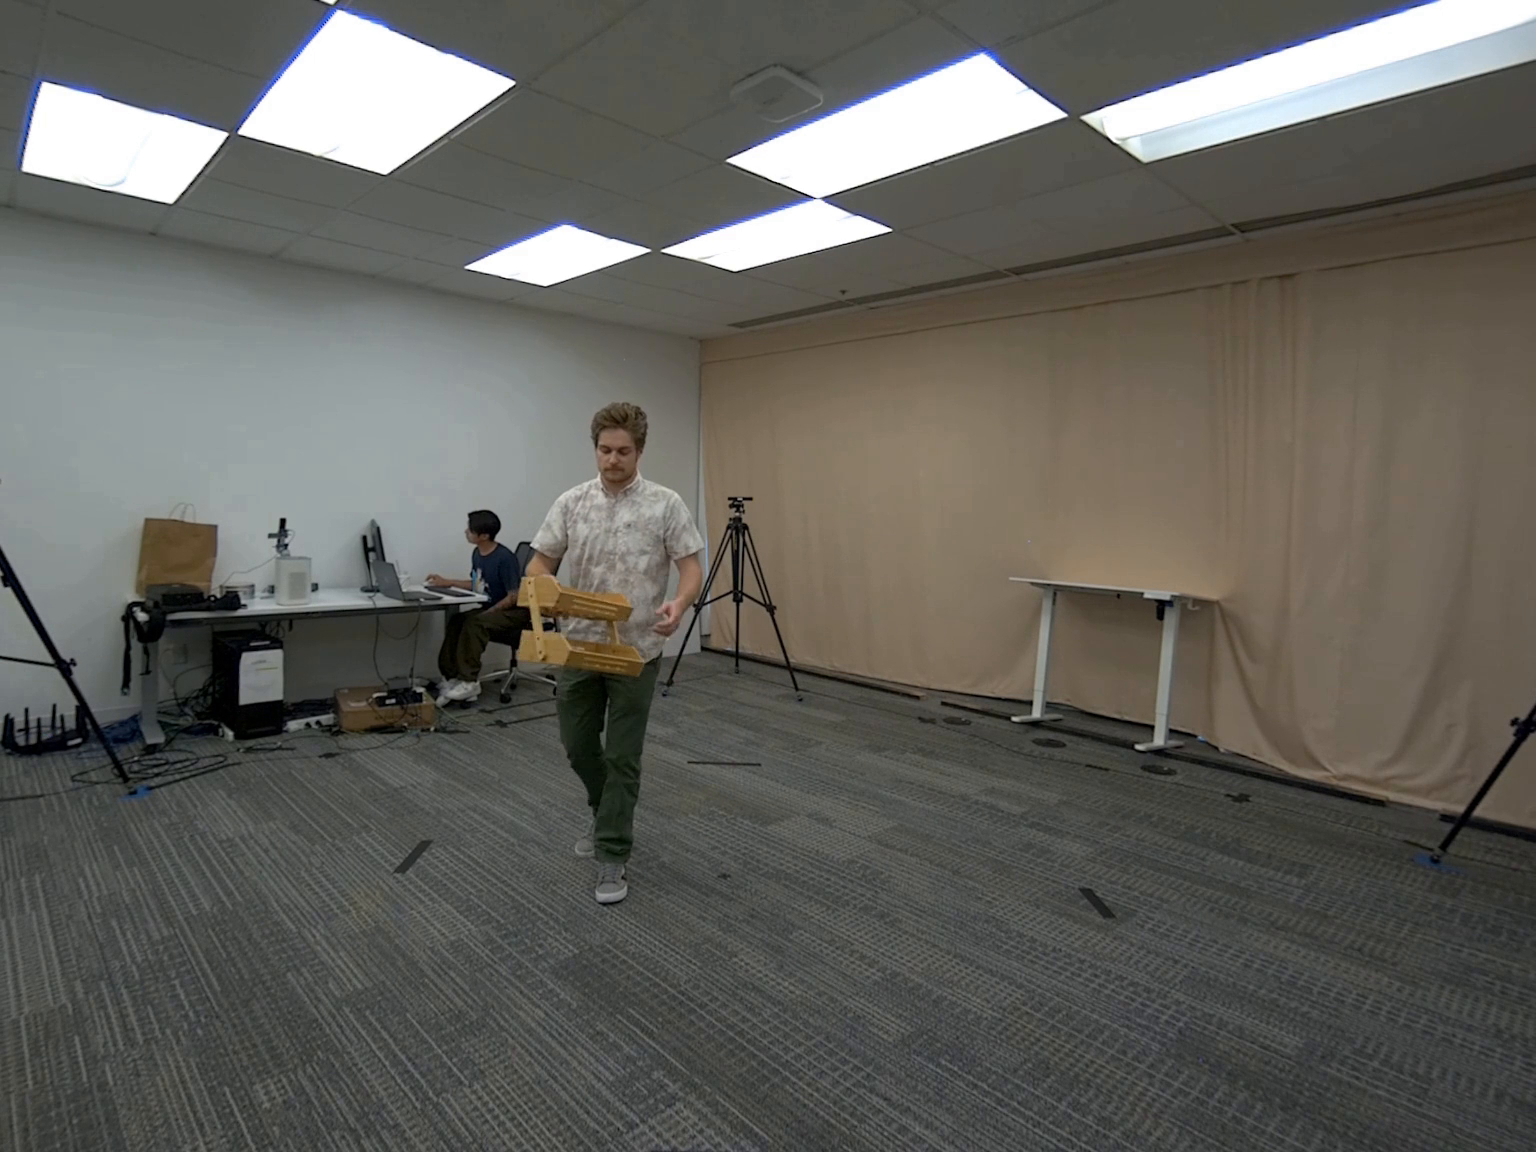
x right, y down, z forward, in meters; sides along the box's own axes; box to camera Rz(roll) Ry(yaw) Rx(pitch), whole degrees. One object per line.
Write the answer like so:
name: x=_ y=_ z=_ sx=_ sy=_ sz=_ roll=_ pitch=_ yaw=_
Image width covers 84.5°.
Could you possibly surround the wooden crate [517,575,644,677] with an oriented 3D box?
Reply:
wooden crate: x=-0.598 y=0.159 z=2.646 sx=0.309 sy=0.275 sz=0.315 roll=-1 pitch=-13 yaw=39
